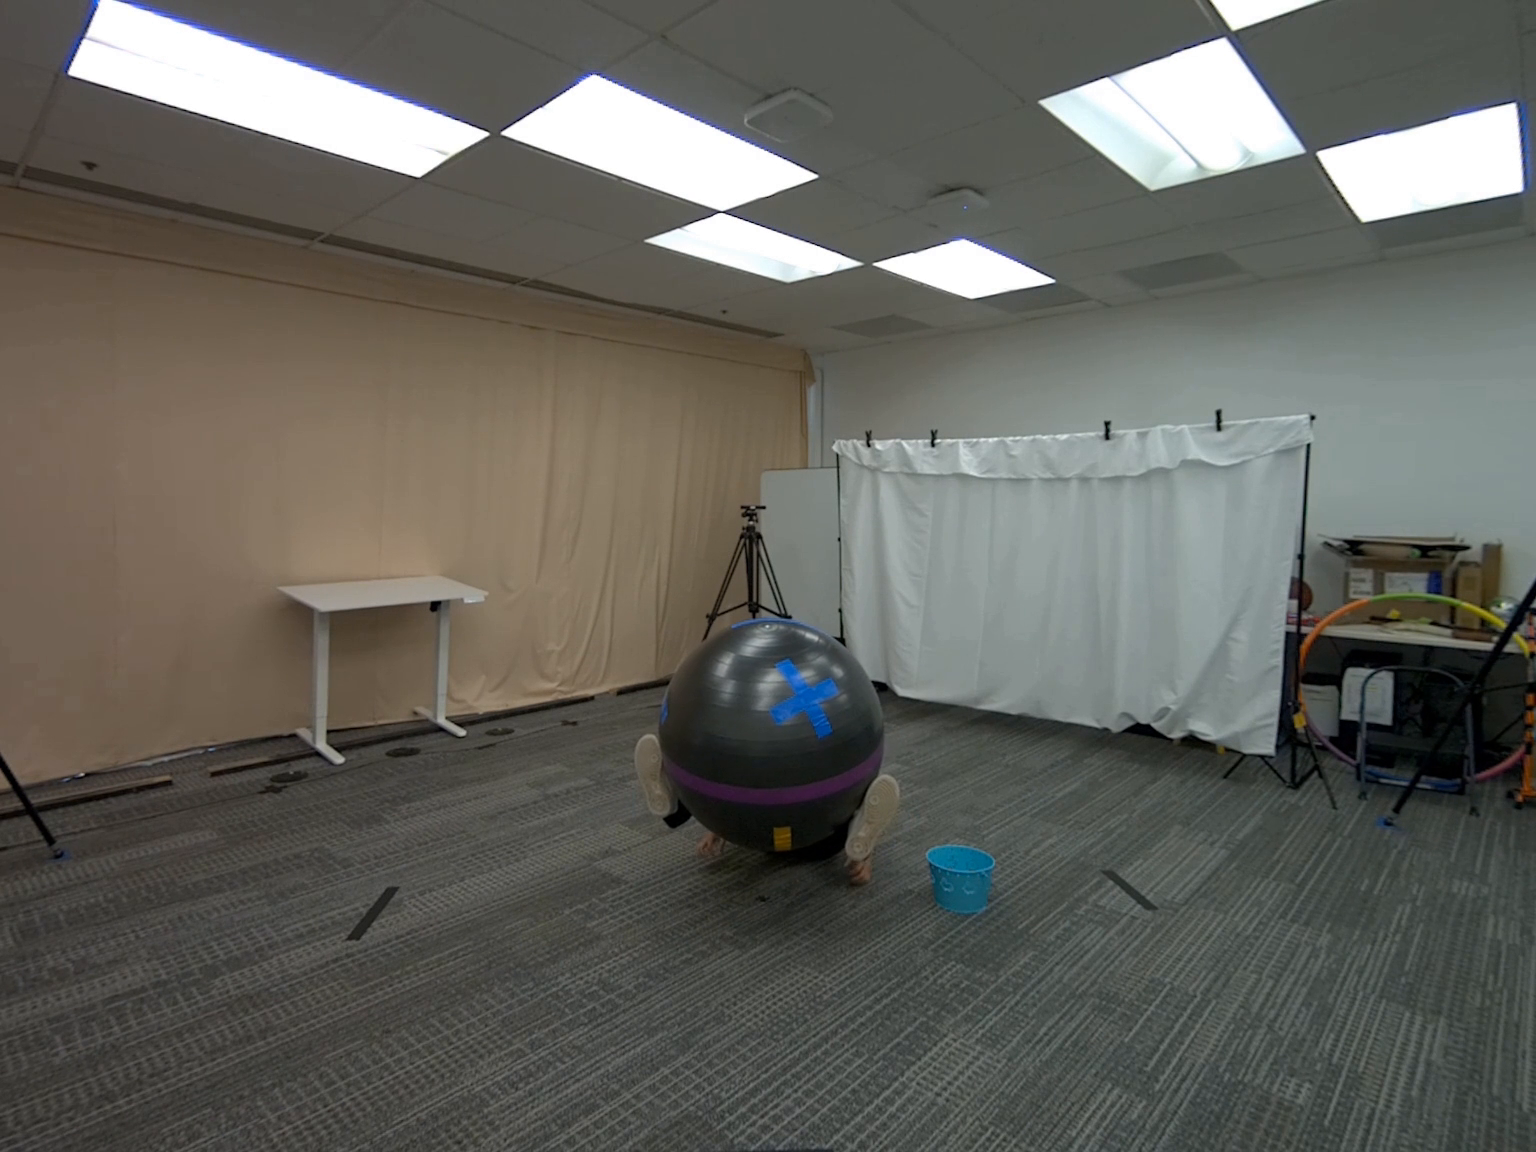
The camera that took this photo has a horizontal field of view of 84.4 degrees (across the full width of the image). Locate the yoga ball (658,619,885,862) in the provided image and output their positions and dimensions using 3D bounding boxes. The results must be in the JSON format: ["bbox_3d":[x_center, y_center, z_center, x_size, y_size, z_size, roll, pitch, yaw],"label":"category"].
[{"bbox_3d":[0.015,0.529,2.847,0.757,0.756,0.760,0,4,-2],"label":"yoga ball"}]
